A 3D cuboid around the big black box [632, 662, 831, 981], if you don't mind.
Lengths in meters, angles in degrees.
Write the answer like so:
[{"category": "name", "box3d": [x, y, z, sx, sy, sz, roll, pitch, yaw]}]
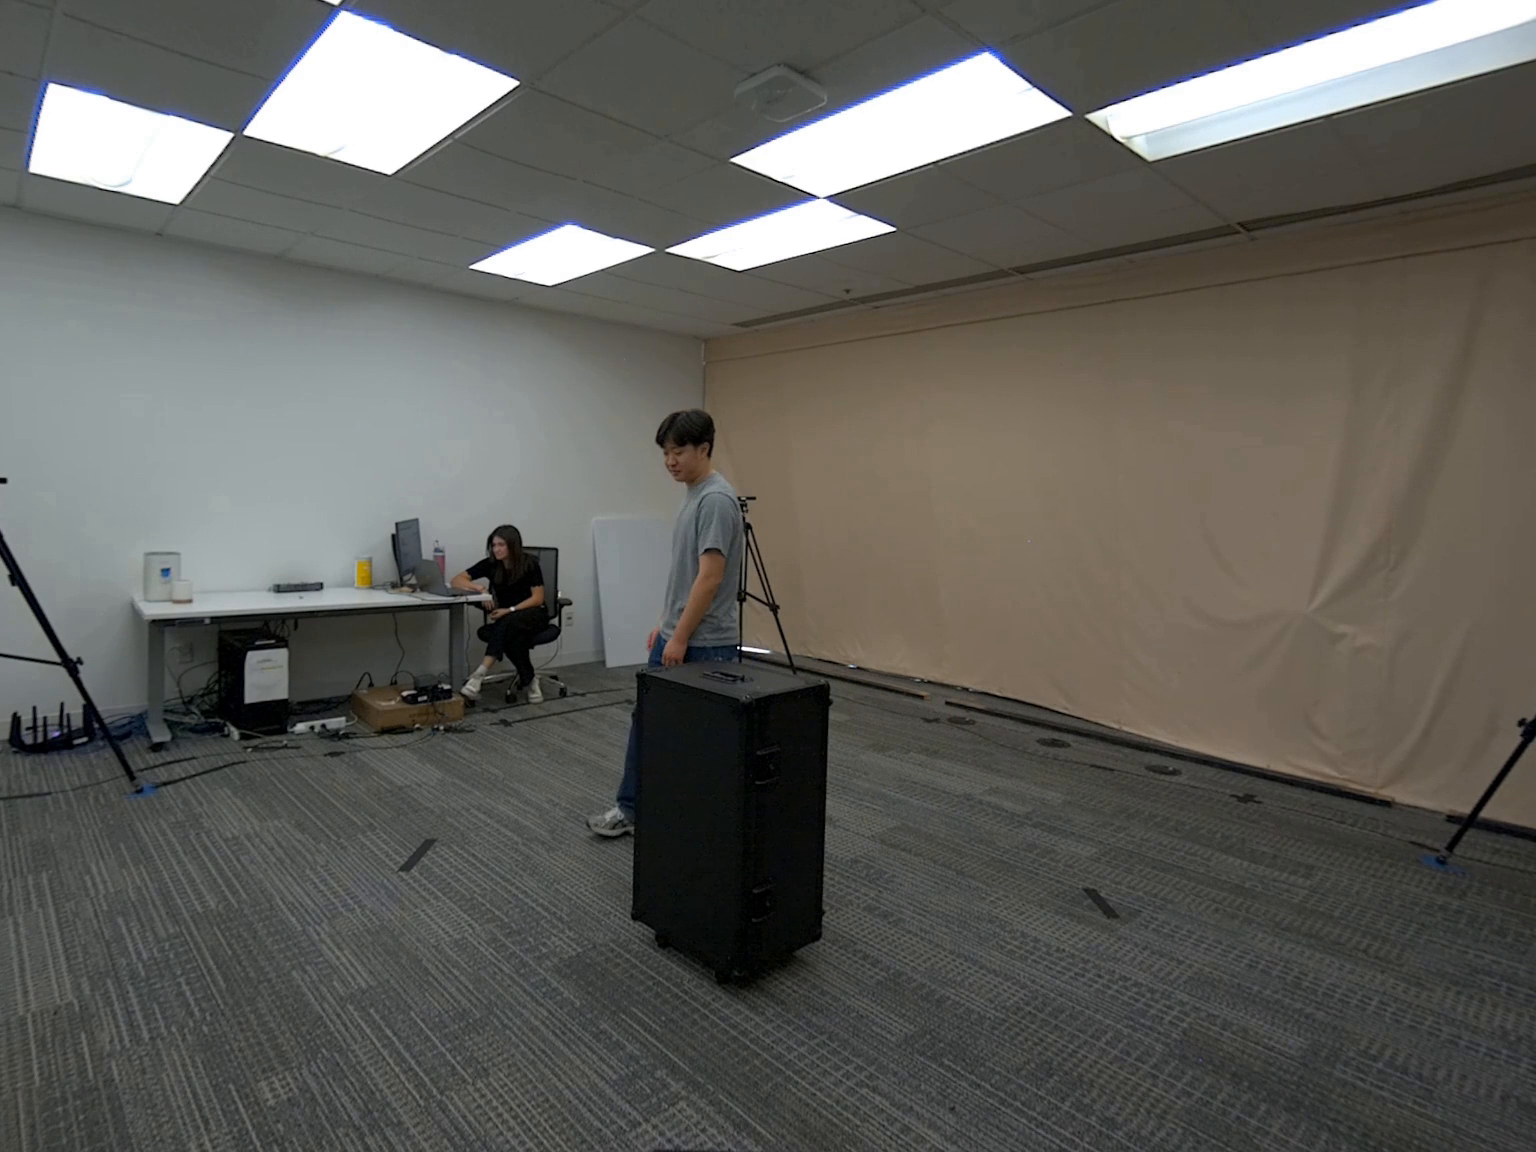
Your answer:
[{"category": "big black box", "box3d": [-0.119, 0.733, 2.569, 0.534, 0.860, 0.387, 4, 4, 44]}]
